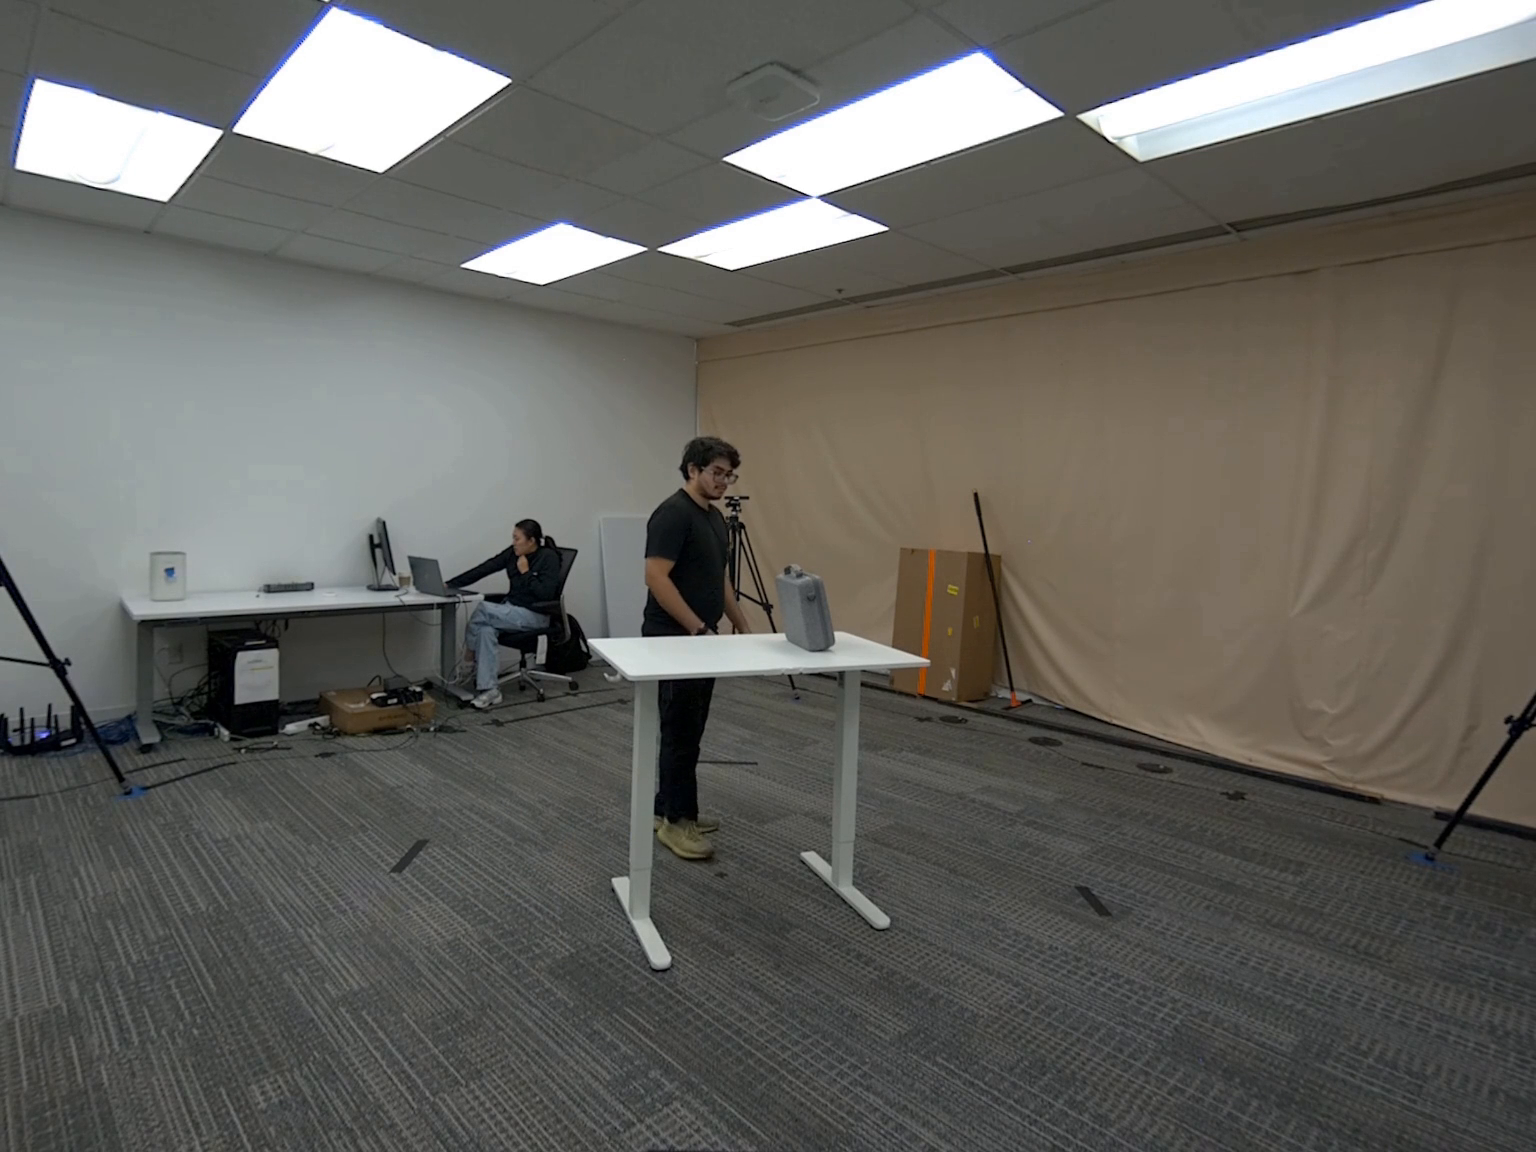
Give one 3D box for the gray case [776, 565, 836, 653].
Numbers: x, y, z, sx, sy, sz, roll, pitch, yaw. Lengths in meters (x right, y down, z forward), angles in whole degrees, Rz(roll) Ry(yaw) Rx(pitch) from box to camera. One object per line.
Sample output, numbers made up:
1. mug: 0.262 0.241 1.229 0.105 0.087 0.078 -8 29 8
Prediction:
1. gray case: 0.121 0.117 2.924 0.103 0.259 0.261 -8 8 -16
